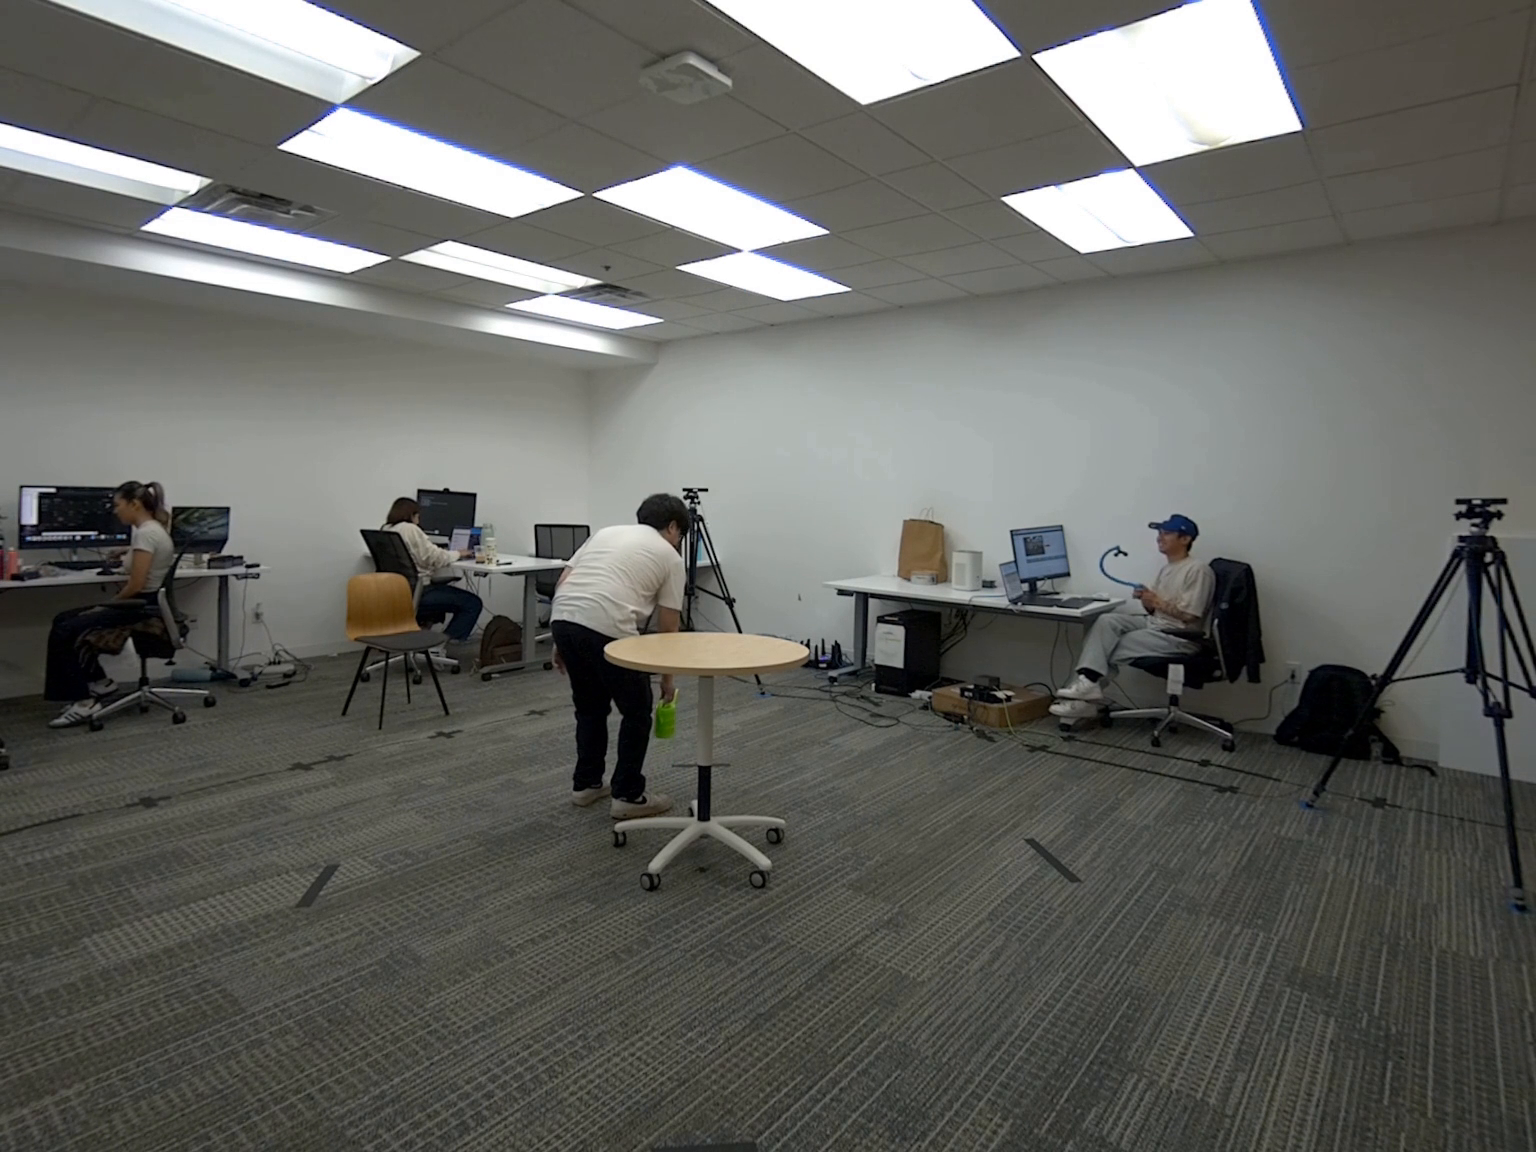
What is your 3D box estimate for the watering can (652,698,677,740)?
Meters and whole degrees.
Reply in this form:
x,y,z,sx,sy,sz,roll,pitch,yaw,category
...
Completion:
x,y,z,sx,sy,sz,roll,pitch,yaw,category
-0.471,0.645,3.970,0.101,0.176,0.272,6,8,24,watering can
